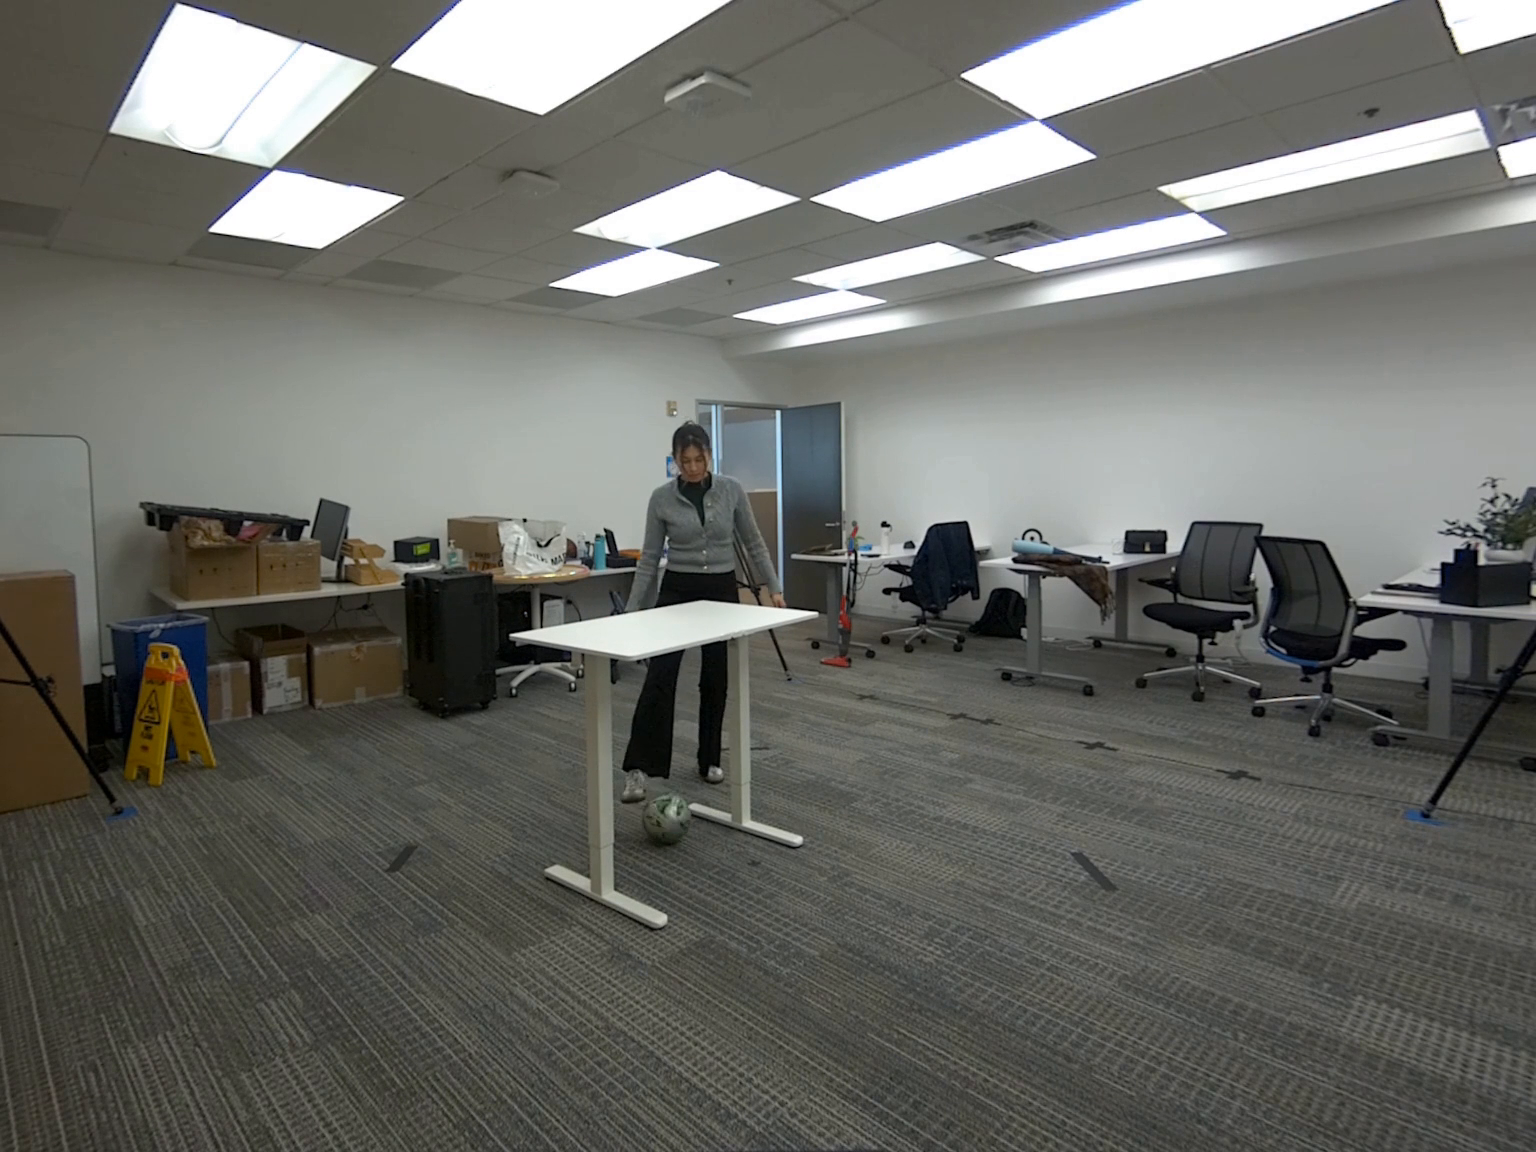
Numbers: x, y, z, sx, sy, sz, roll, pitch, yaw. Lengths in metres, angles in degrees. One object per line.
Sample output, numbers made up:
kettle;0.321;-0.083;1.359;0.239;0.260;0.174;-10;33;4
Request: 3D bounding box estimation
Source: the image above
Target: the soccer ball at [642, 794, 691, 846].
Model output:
soccer ball;-0.394;0.935;3.300;0.187;0.187;0.188;-1;5;-2
